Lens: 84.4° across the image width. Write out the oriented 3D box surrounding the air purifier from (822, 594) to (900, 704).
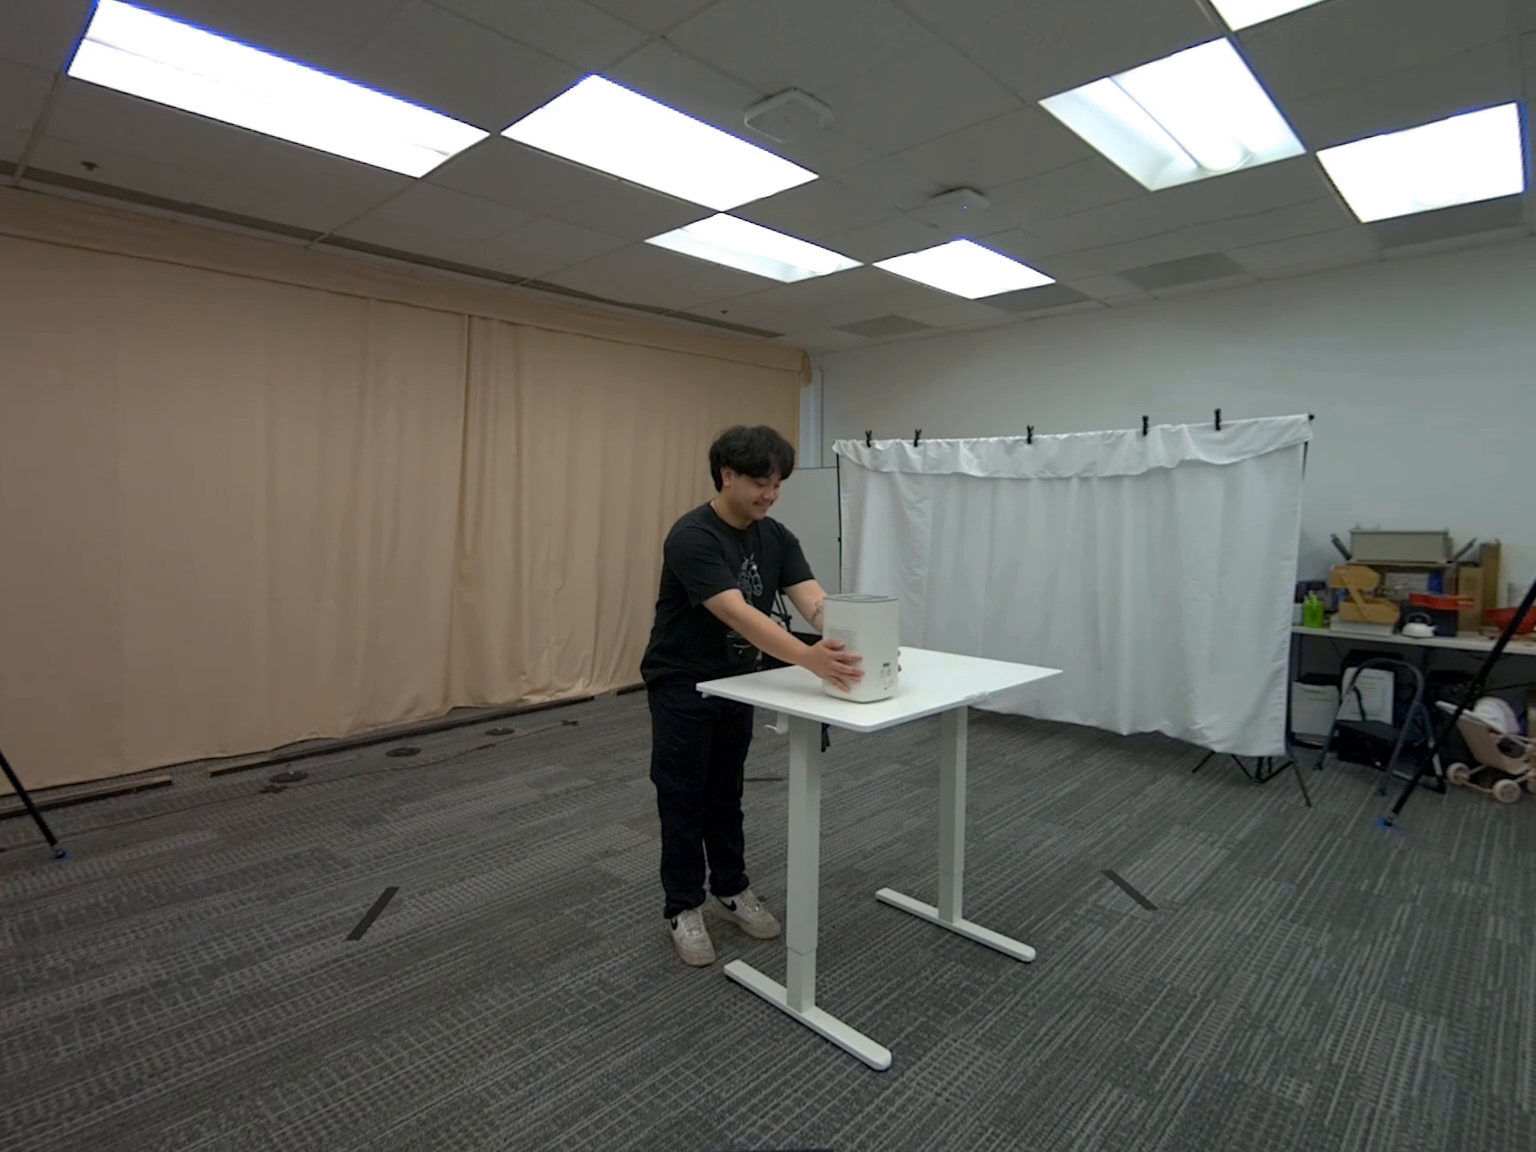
[{"bbox_3d":[0.244,0.188,2.225,0.166,0.265,0.177,-2,4,-44],"label":"air purifier"}]
